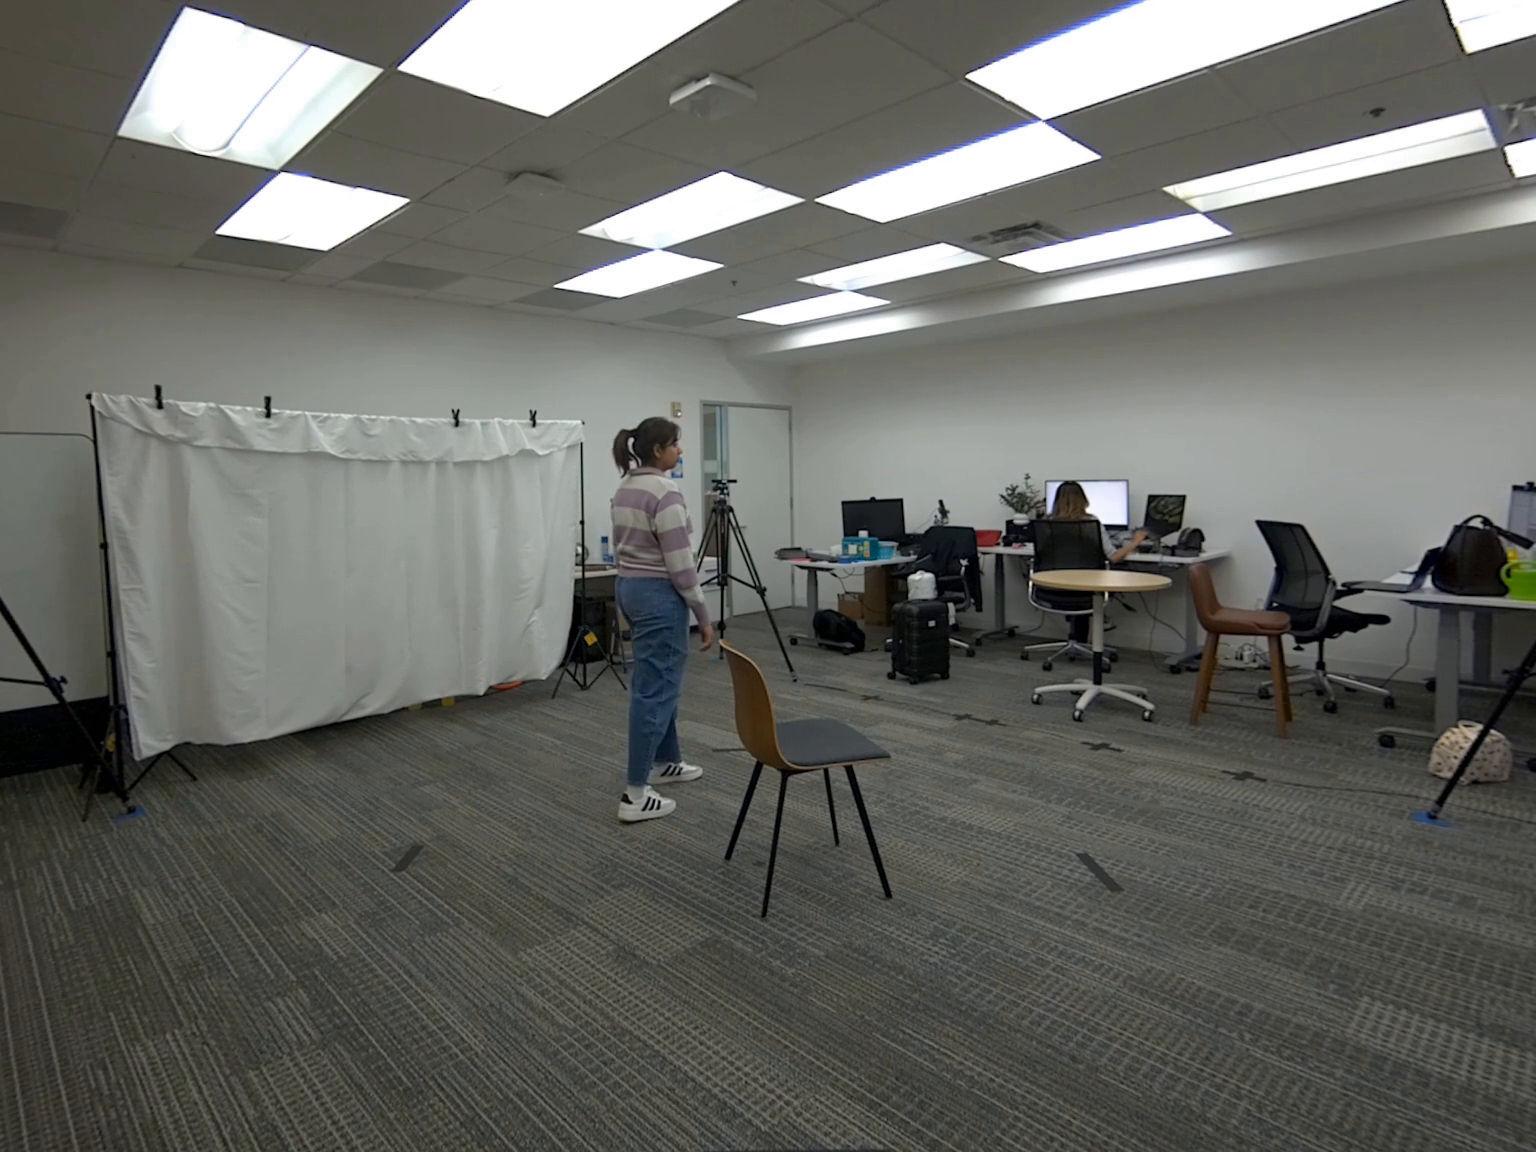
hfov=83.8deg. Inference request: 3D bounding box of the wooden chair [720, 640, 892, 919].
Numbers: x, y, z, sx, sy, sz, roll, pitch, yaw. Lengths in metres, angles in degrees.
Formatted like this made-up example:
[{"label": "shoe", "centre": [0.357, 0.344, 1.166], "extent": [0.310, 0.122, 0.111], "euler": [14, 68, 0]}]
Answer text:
[{"label": "wooden chair", "centre": [0.129, 0.632, 2.967], "extent": [0.516, 0.873, 0.487], "euler": [-6, 5, -17]}]
